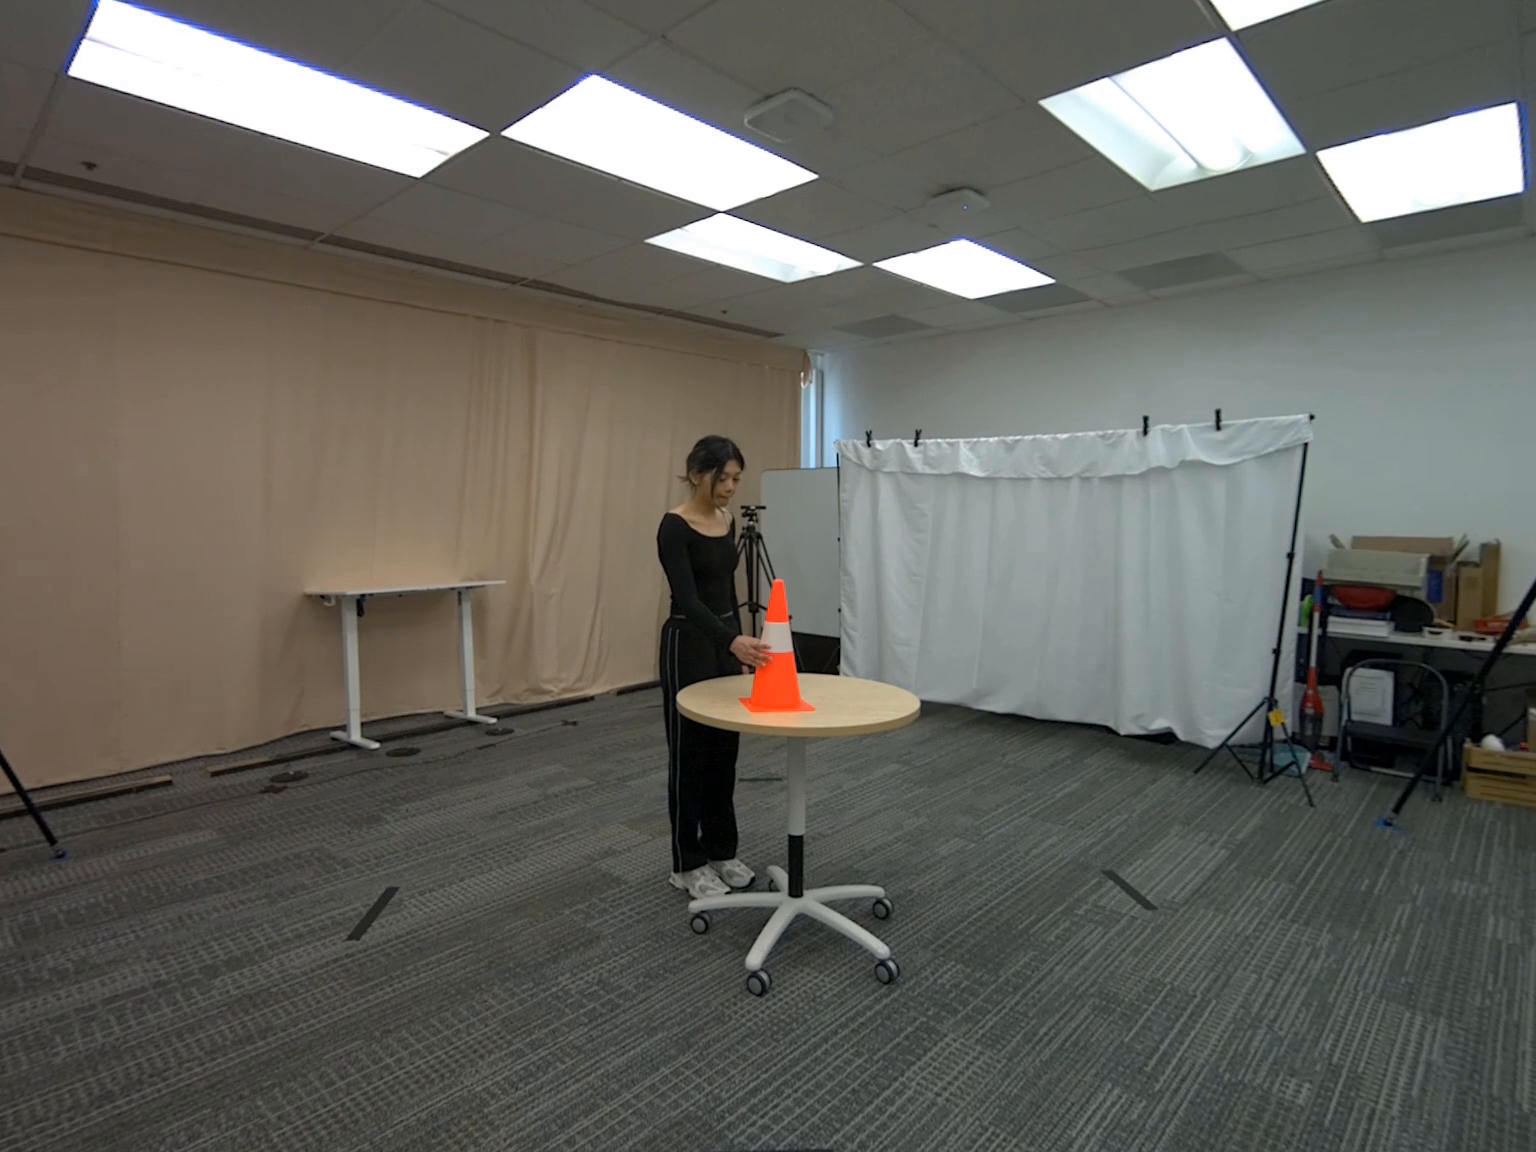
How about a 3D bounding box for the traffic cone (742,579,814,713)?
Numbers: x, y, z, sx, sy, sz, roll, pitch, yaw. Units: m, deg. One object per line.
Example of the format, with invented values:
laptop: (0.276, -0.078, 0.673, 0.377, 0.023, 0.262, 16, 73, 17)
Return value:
traffic cone: (0.038, 0.205, 2.561, 0.201, 0.383, 0.207, 1, 3, -17)
